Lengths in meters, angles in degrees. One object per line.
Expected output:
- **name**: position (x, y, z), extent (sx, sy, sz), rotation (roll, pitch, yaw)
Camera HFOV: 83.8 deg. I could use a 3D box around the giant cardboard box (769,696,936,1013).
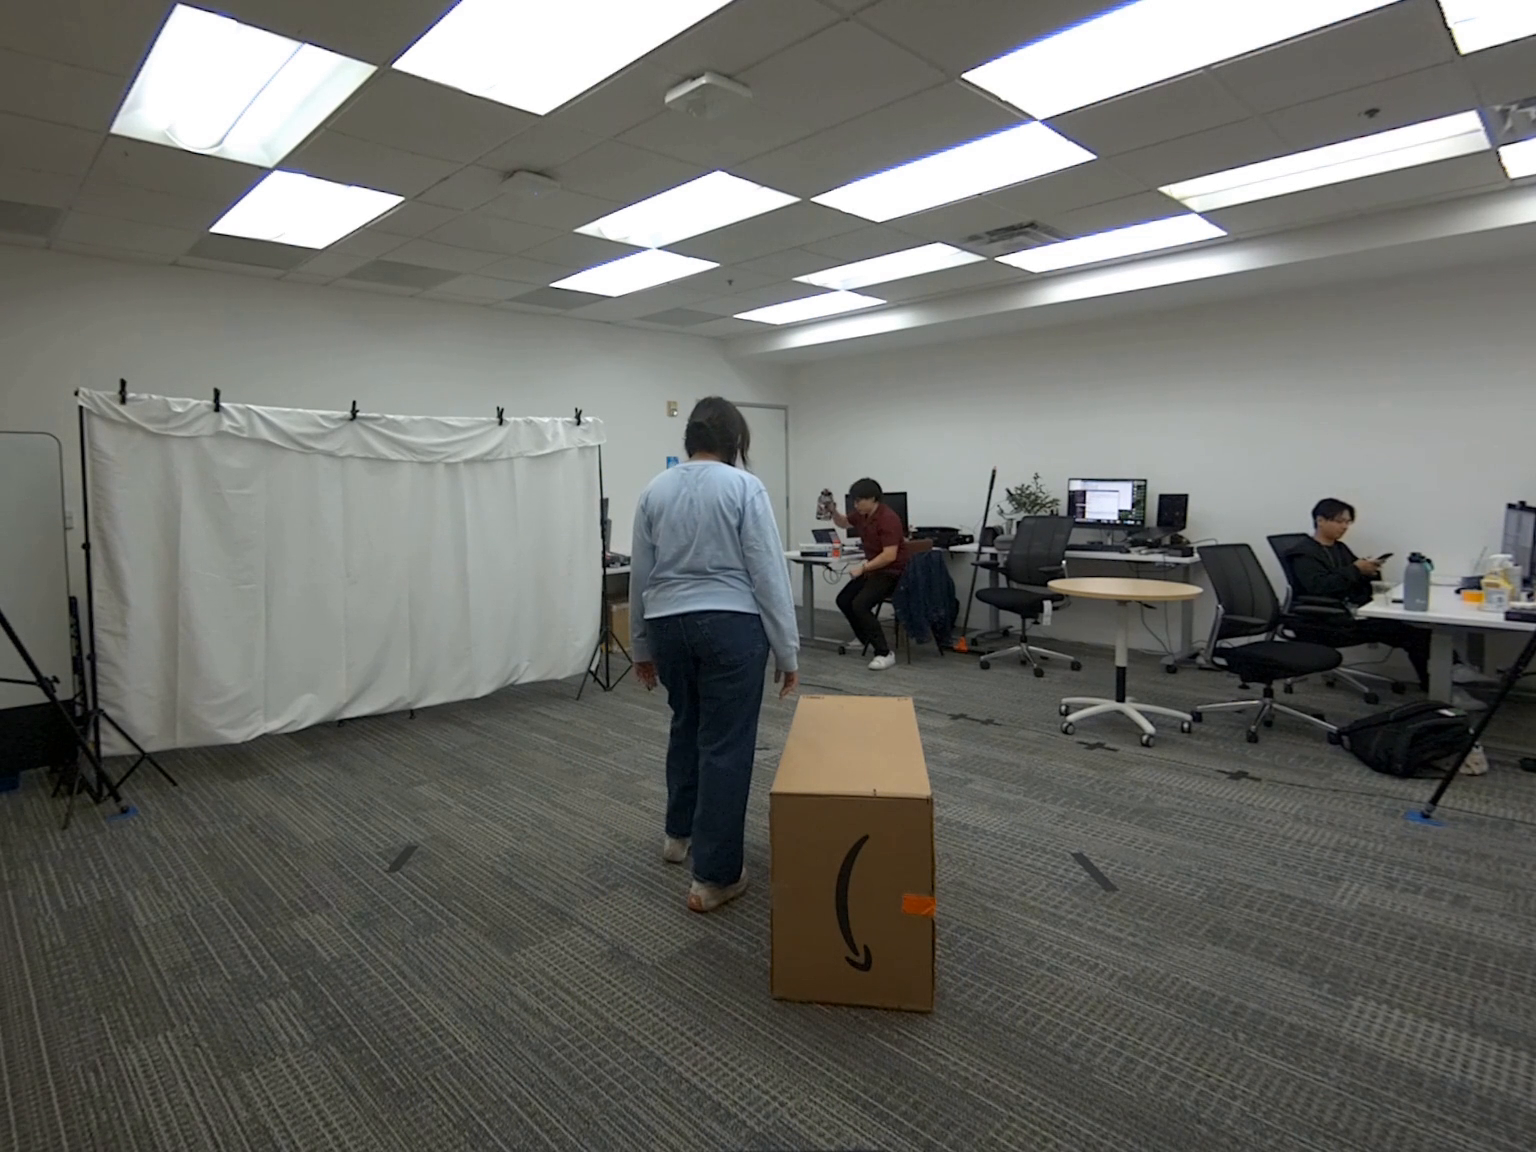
- **giant cardboard box**: position (0.282, 0.790, 2.732), extent (0.430, 0.575, 1.021), rotation (0, 5, 7)
